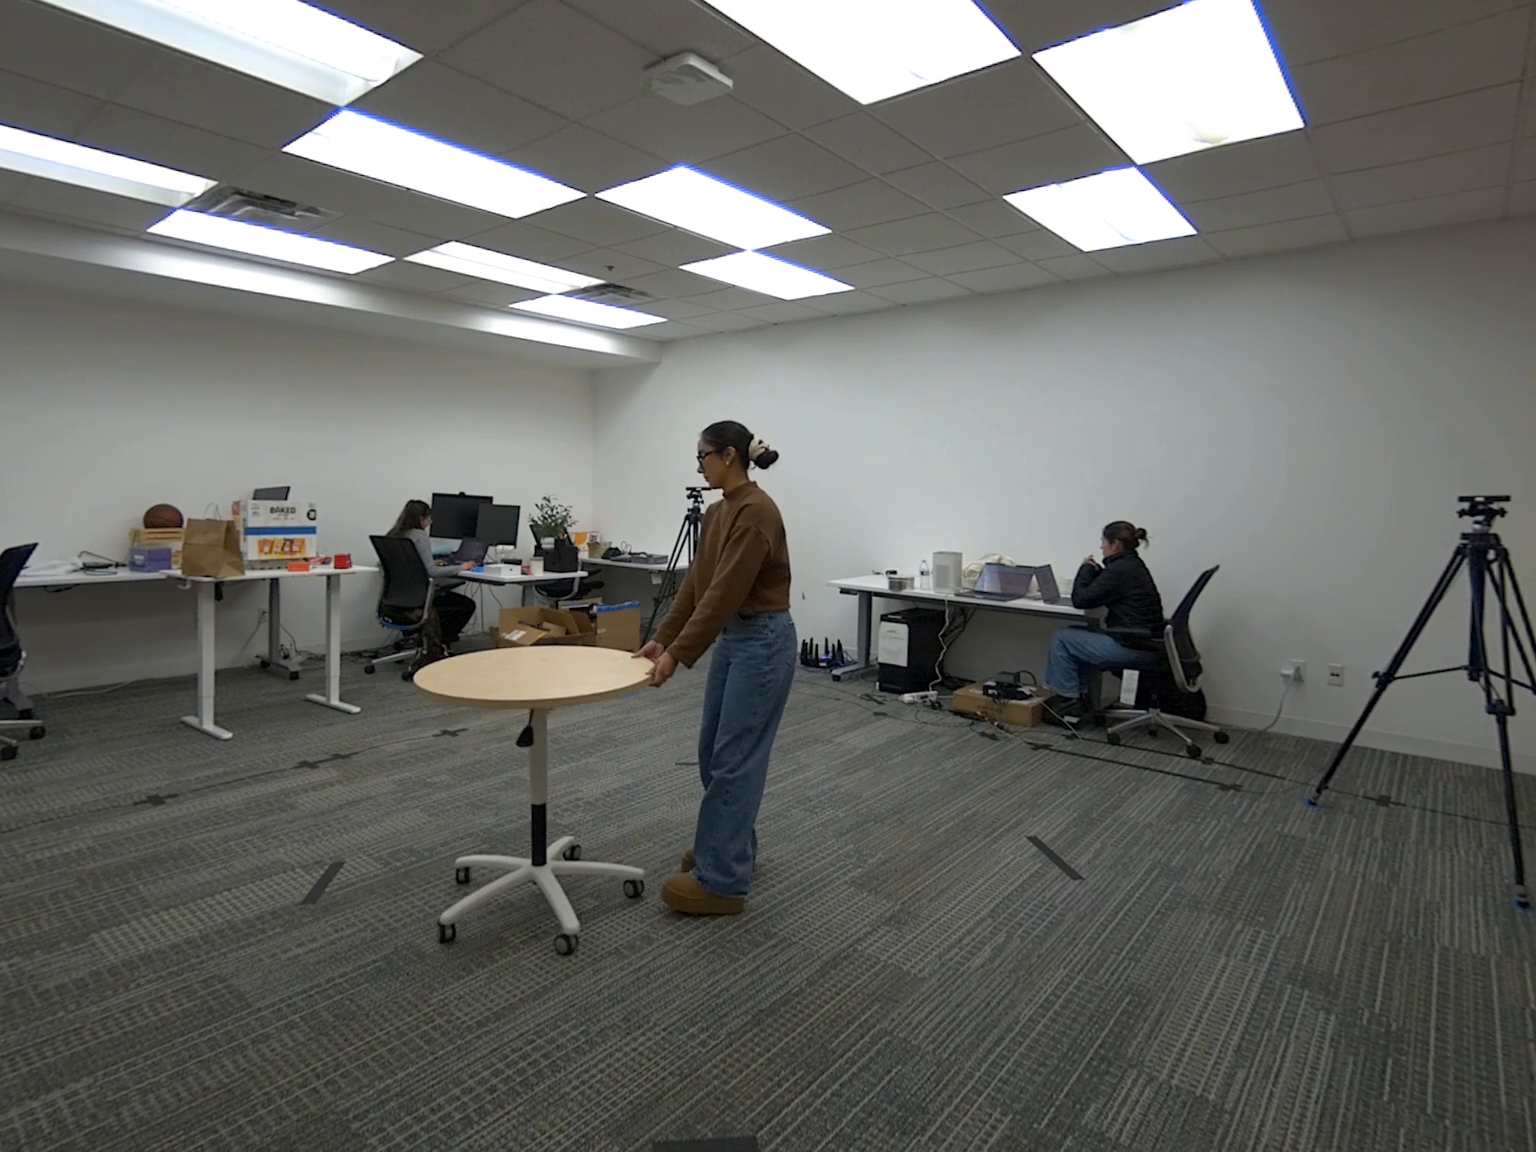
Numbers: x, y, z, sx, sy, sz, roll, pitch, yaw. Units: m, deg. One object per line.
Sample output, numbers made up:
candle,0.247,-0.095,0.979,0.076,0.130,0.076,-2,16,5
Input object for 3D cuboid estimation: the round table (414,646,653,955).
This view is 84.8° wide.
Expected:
round table,-0.748,0.692,2.814,0.784,0.783,0.789,0,5,-2
